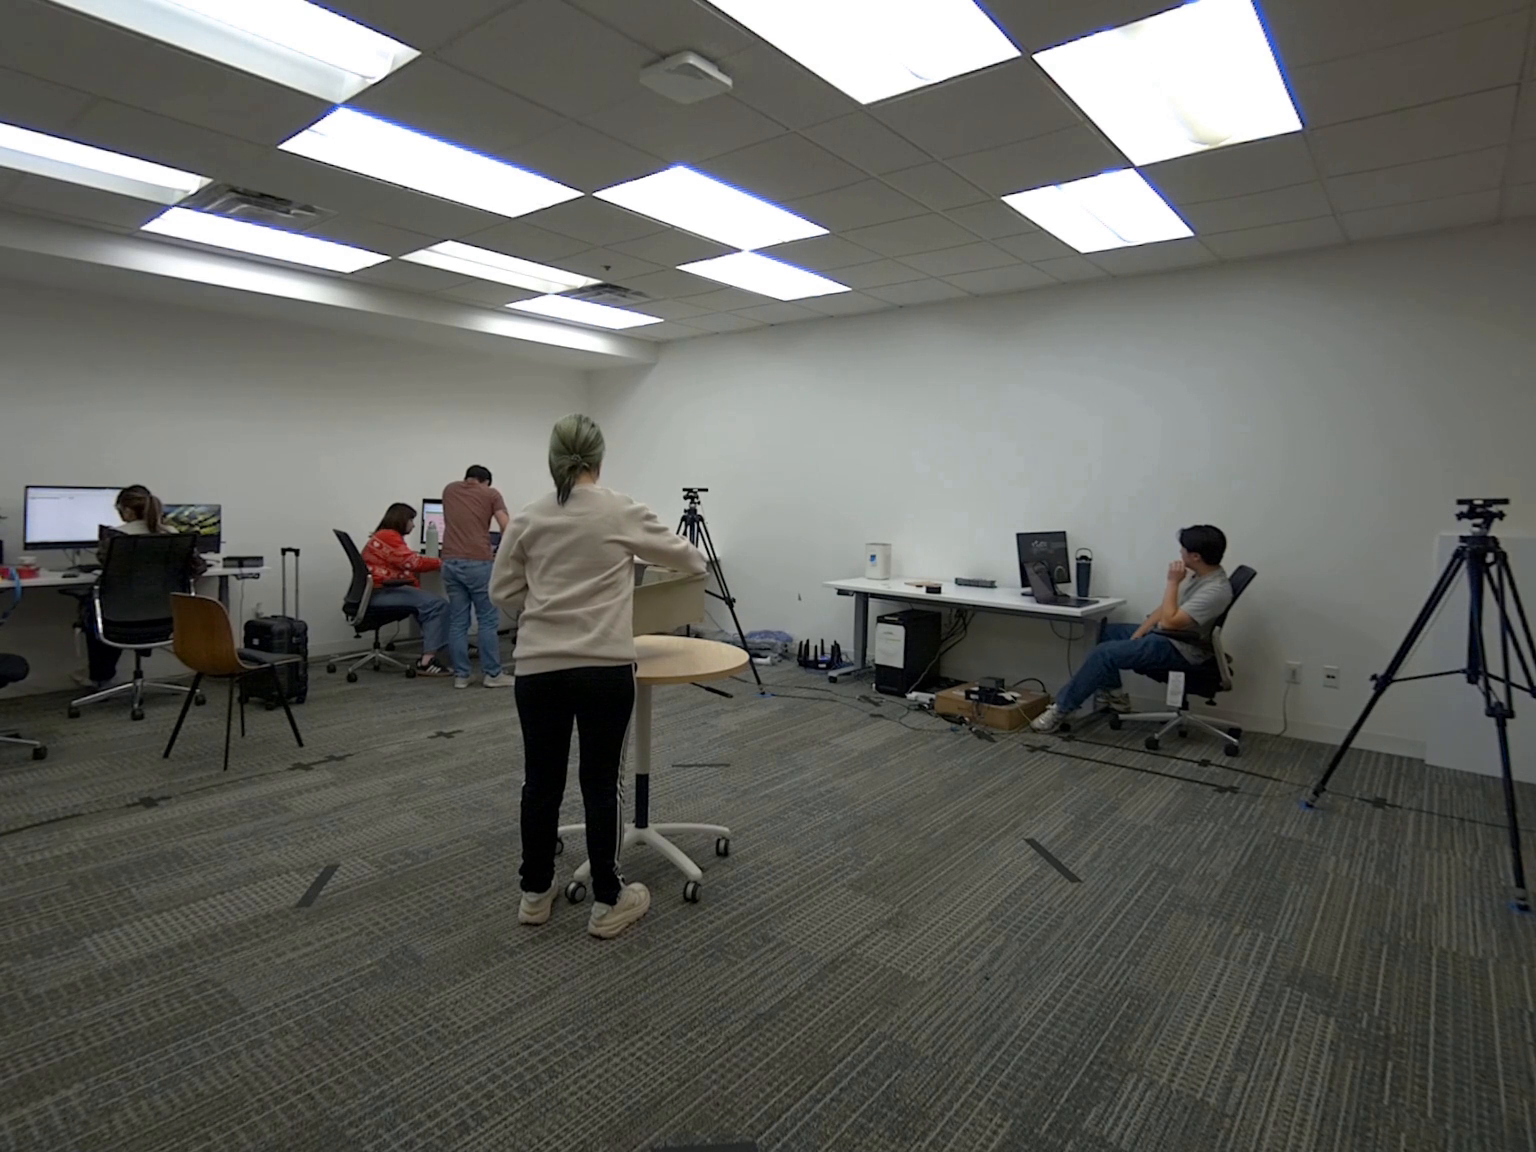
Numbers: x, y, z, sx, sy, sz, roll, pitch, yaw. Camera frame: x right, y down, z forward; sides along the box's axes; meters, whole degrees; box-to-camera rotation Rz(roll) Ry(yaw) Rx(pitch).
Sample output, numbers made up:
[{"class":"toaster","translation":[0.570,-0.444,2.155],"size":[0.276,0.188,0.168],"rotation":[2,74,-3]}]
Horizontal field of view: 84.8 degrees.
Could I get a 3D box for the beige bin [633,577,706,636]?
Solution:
[{"class":"beige bin","translation":[-0.484,0.091,3.091],"size":[0.411,0.187,0.391],"rotation":[-10,12,-42]}]
